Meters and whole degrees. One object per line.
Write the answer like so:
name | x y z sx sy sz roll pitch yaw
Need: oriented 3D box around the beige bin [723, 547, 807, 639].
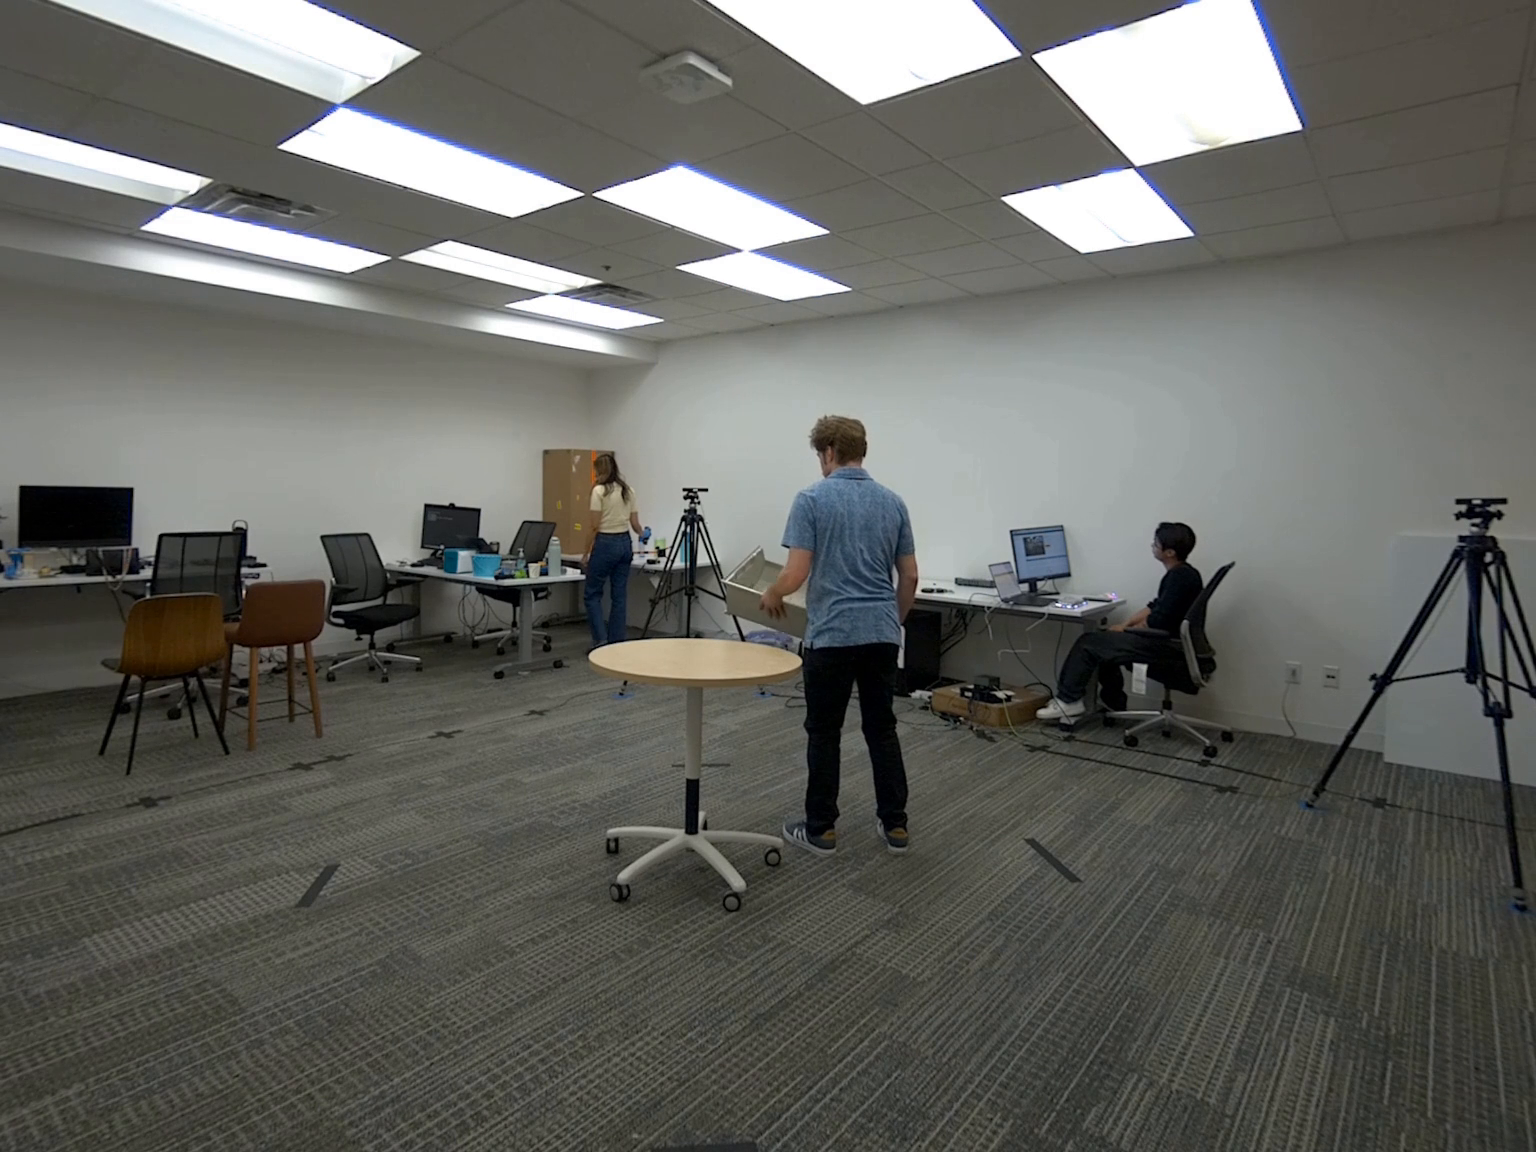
beige bin | 0.056 0.063 3.706 0.435 0.184 0.376 18 38 24
